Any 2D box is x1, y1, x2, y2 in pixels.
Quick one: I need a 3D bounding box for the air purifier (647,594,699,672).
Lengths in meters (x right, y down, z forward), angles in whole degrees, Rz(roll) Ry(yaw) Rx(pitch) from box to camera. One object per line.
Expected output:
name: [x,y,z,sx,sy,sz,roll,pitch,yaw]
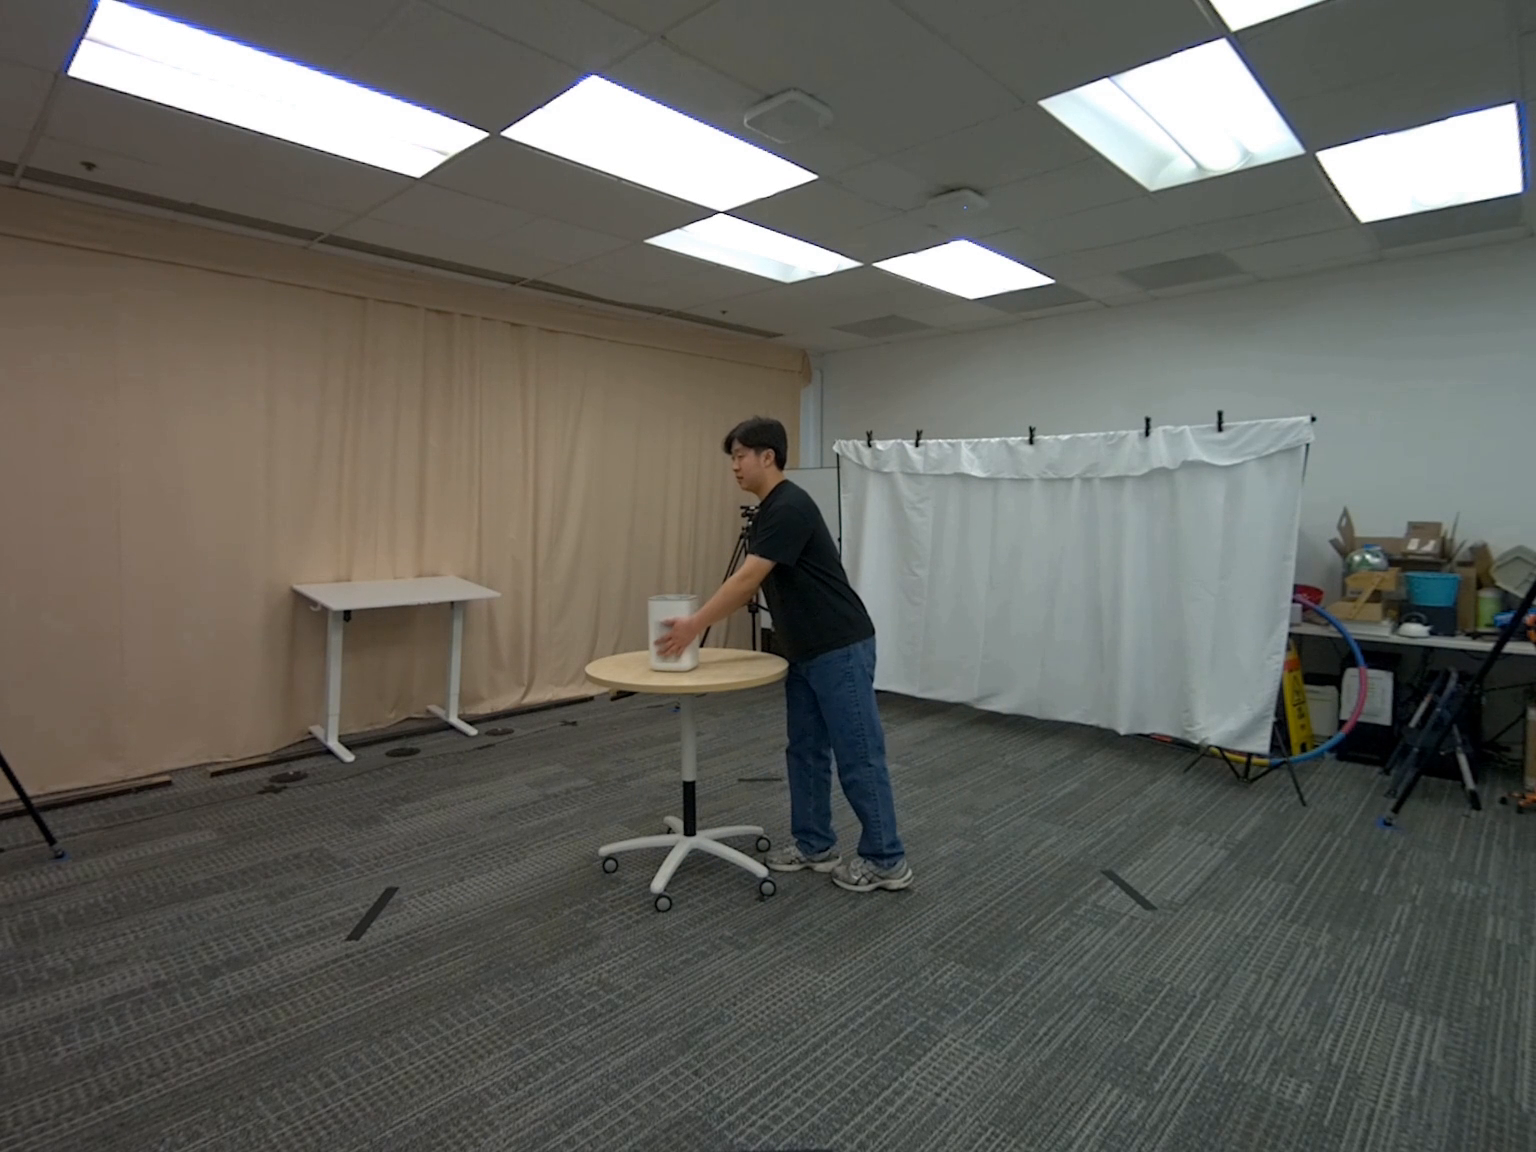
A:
air purifier: [-0.343,0.211,3.105,0.173,0.265,0.170,-1,2,7]
